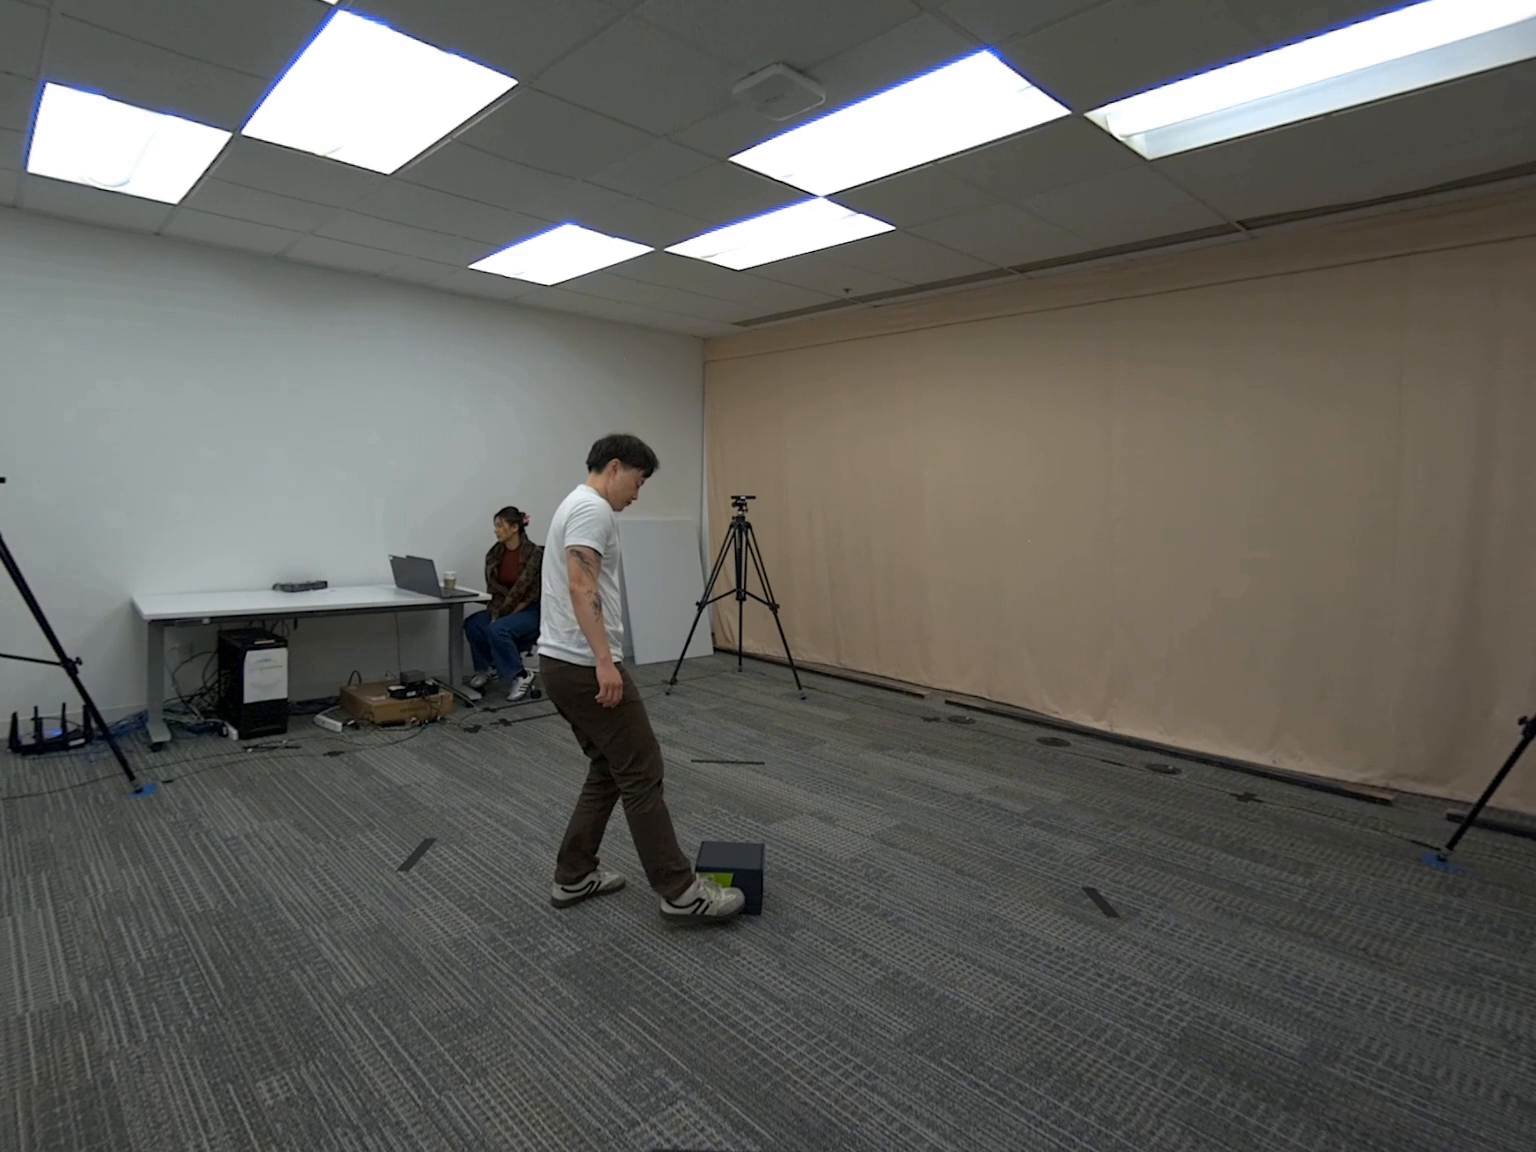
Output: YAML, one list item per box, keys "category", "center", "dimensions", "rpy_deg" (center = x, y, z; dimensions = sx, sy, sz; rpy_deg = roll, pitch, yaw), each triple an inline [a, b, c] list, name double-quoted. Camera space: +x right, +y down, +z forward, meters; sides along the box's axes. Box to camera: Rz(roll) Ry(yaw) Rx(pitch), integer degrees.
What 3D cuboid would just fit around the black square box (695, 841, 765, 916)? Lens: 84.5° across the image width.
- category: "black square box"
  center: [-0.135, 1.036, 2.906]
  dimensions: [0.228, 0.155, 0.217]
  rpy_deg: [1, 5, 2]
